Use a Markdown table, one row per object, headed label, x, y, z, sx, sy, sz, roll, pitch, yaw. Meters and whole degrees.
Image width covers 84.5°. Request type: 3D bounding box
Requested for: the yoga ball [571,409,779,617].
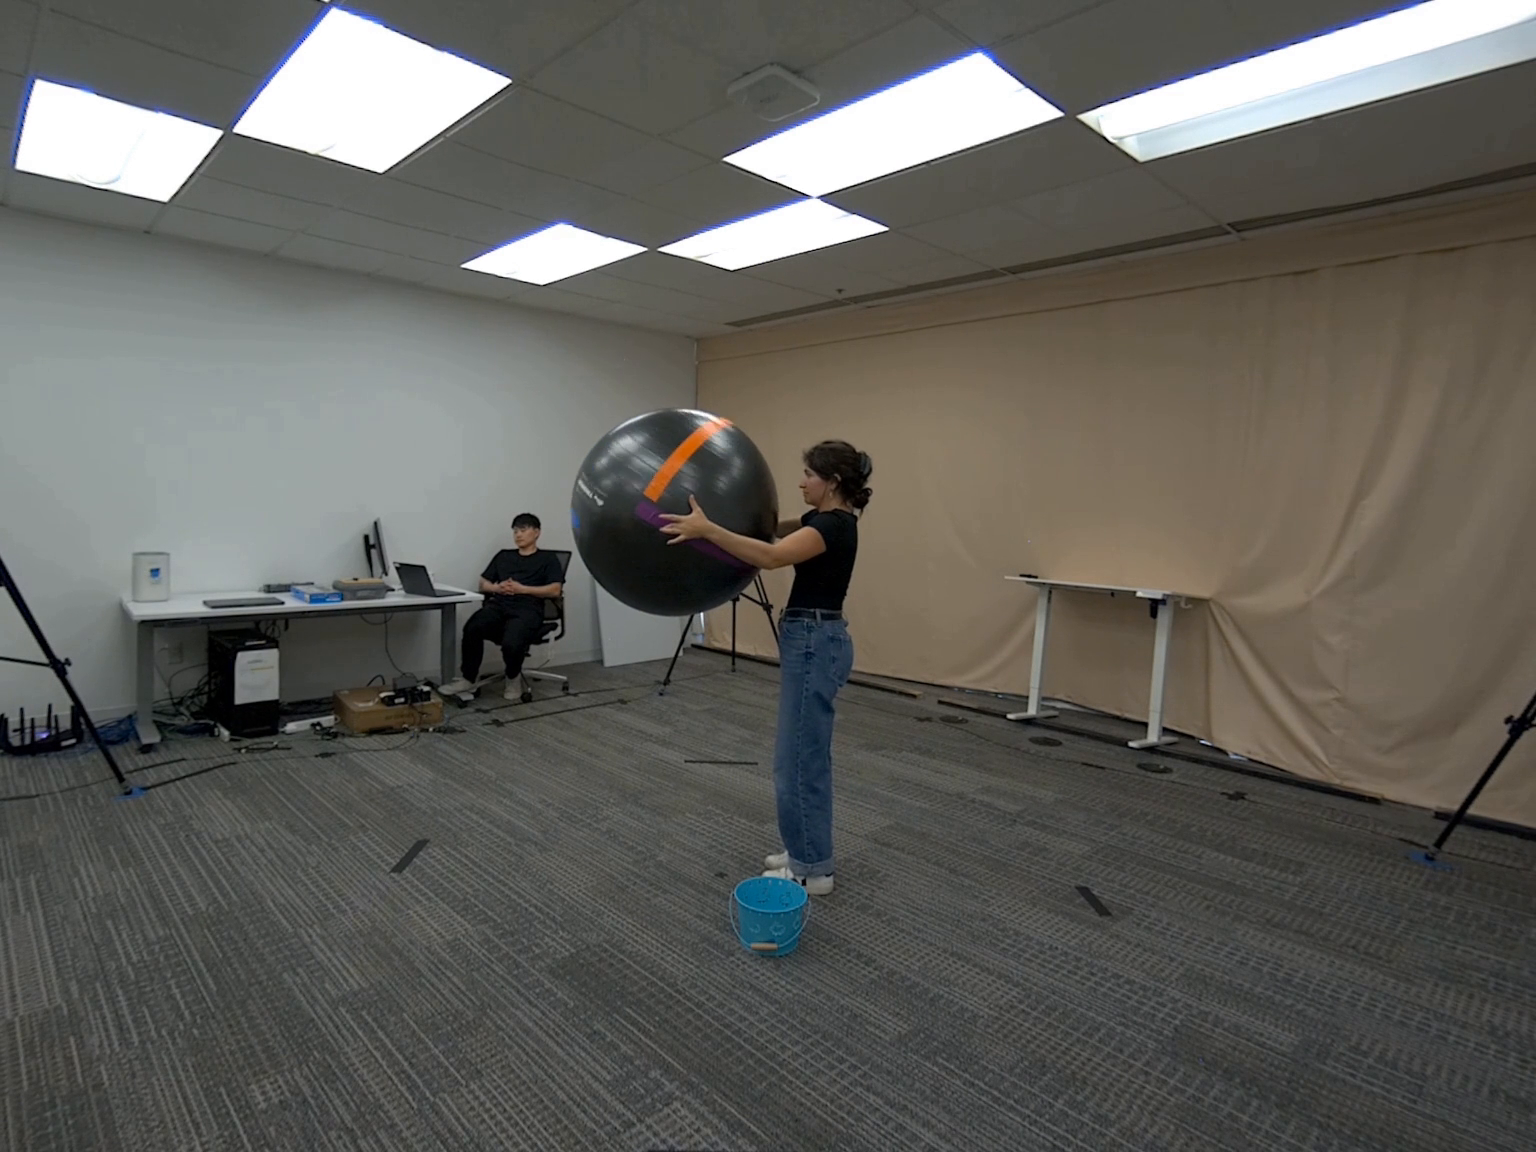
| label | x | y | z | sx | sy | sz | roll | pitch | yaw |
| --- | --- | --- | --- | --- | --- | --- | --- | --- | --- |
| yoga ball | -0.349 | -0.227 | 3.082 | 0.757 | 0.756 | 0.761 | 1 | 4 | -1 |
